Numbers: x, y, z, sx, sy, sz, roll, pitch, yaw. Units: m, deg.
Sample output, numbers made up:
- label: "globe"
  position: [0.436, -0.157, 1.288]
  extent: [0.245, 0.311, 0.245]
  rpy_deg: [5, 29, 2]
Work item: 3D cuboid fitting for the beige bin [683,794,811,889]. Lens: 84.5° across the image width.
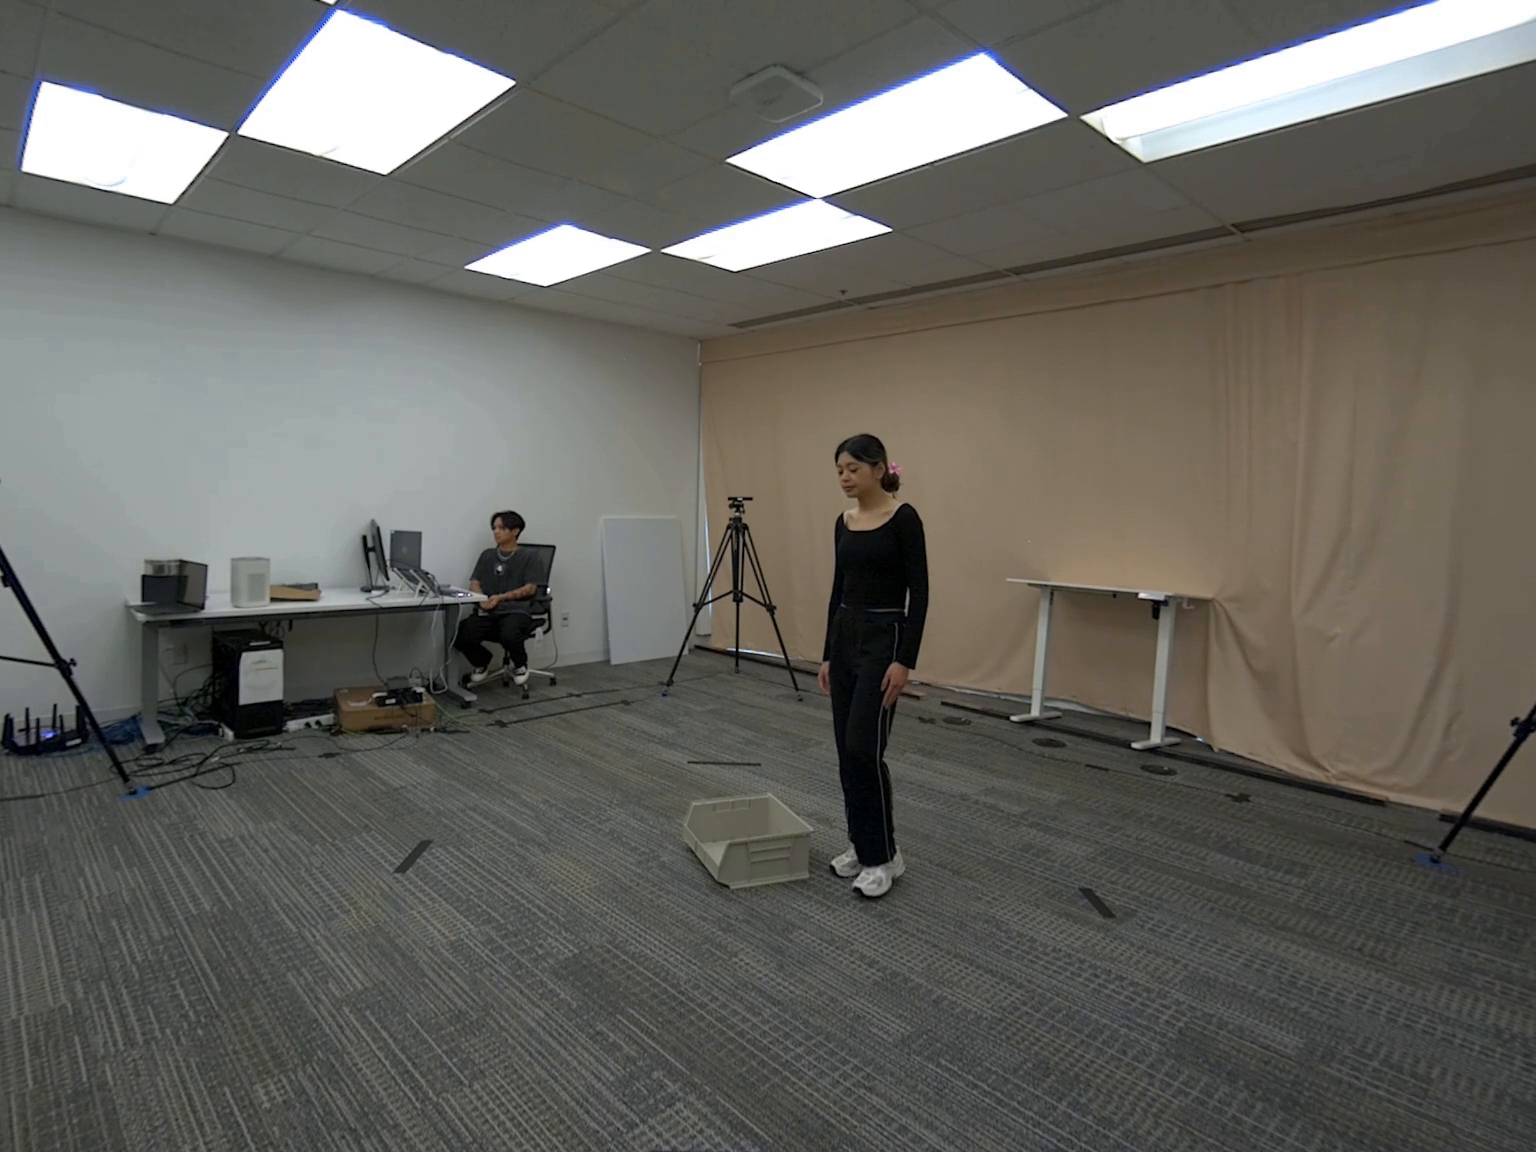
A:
- label: "beige bin"
  position: [-0.089, 1.008, 3.228]
  extent: [0.371, 0.188, 0.430]
  rpy_deg: [0, 4, -23]
